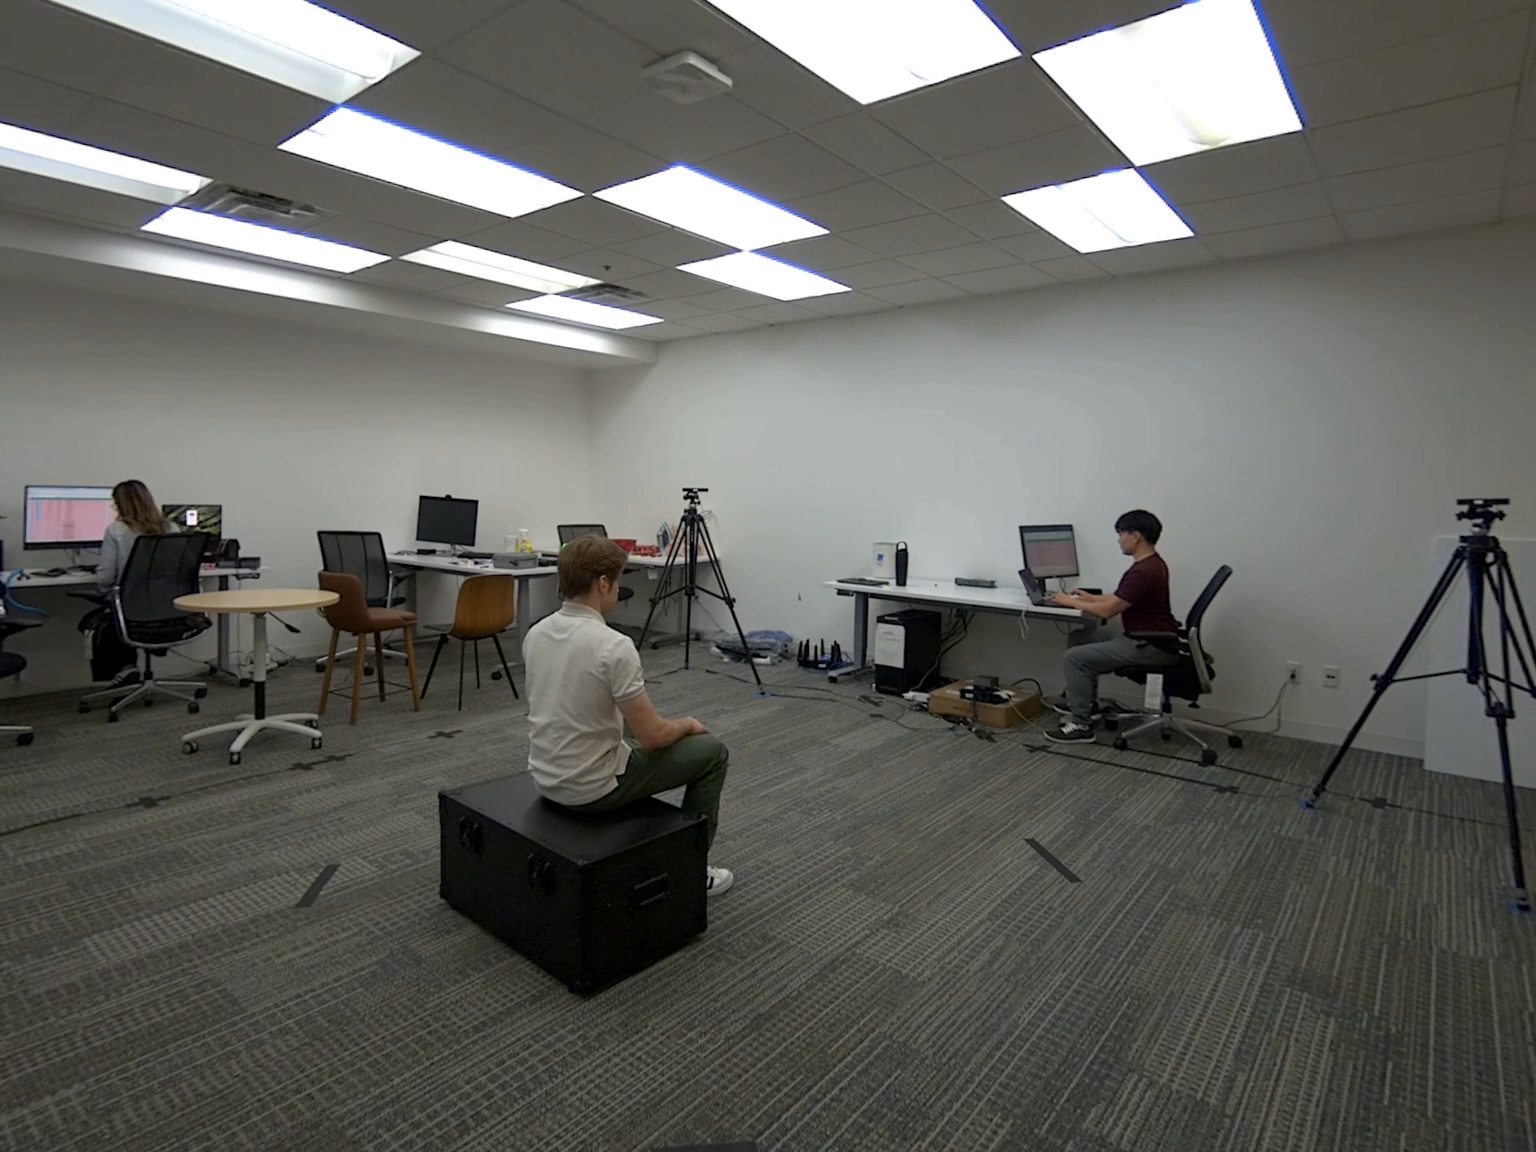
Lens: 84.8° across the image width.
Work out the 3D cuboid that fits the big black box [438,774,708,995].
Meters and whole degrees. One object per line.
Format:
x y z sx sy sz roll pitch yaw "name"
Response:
-0.670 0.906 2.741 0.898 0.383 0.508 6 8 42 "big black box"
